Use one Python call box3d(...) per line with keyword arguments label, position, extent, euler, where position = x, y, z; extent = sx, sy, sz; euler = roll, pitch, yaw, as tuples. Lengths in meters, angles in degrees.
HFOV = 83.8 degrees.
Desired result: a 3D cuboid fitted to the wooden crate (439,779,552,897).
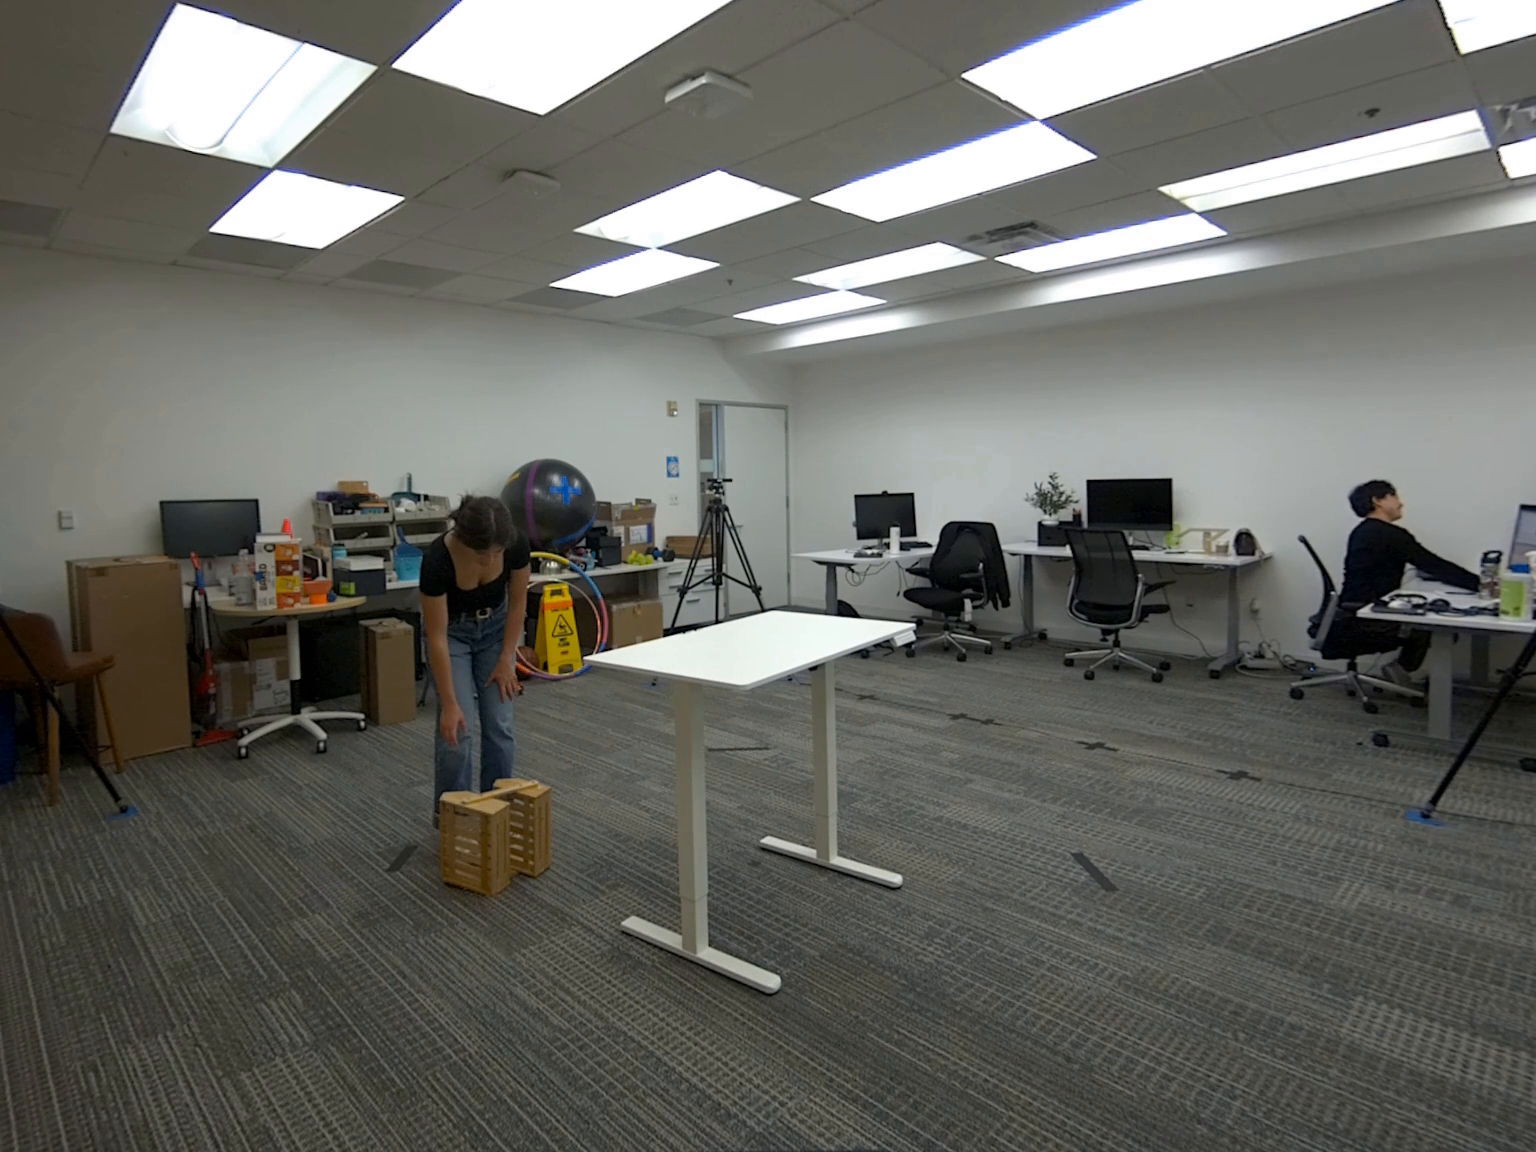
box3d(label="wooden crate", position=(-0.969, 0.907, 3.030), extent=(0.309, 0.322, 0.269), euler=(7, 10, 23))
